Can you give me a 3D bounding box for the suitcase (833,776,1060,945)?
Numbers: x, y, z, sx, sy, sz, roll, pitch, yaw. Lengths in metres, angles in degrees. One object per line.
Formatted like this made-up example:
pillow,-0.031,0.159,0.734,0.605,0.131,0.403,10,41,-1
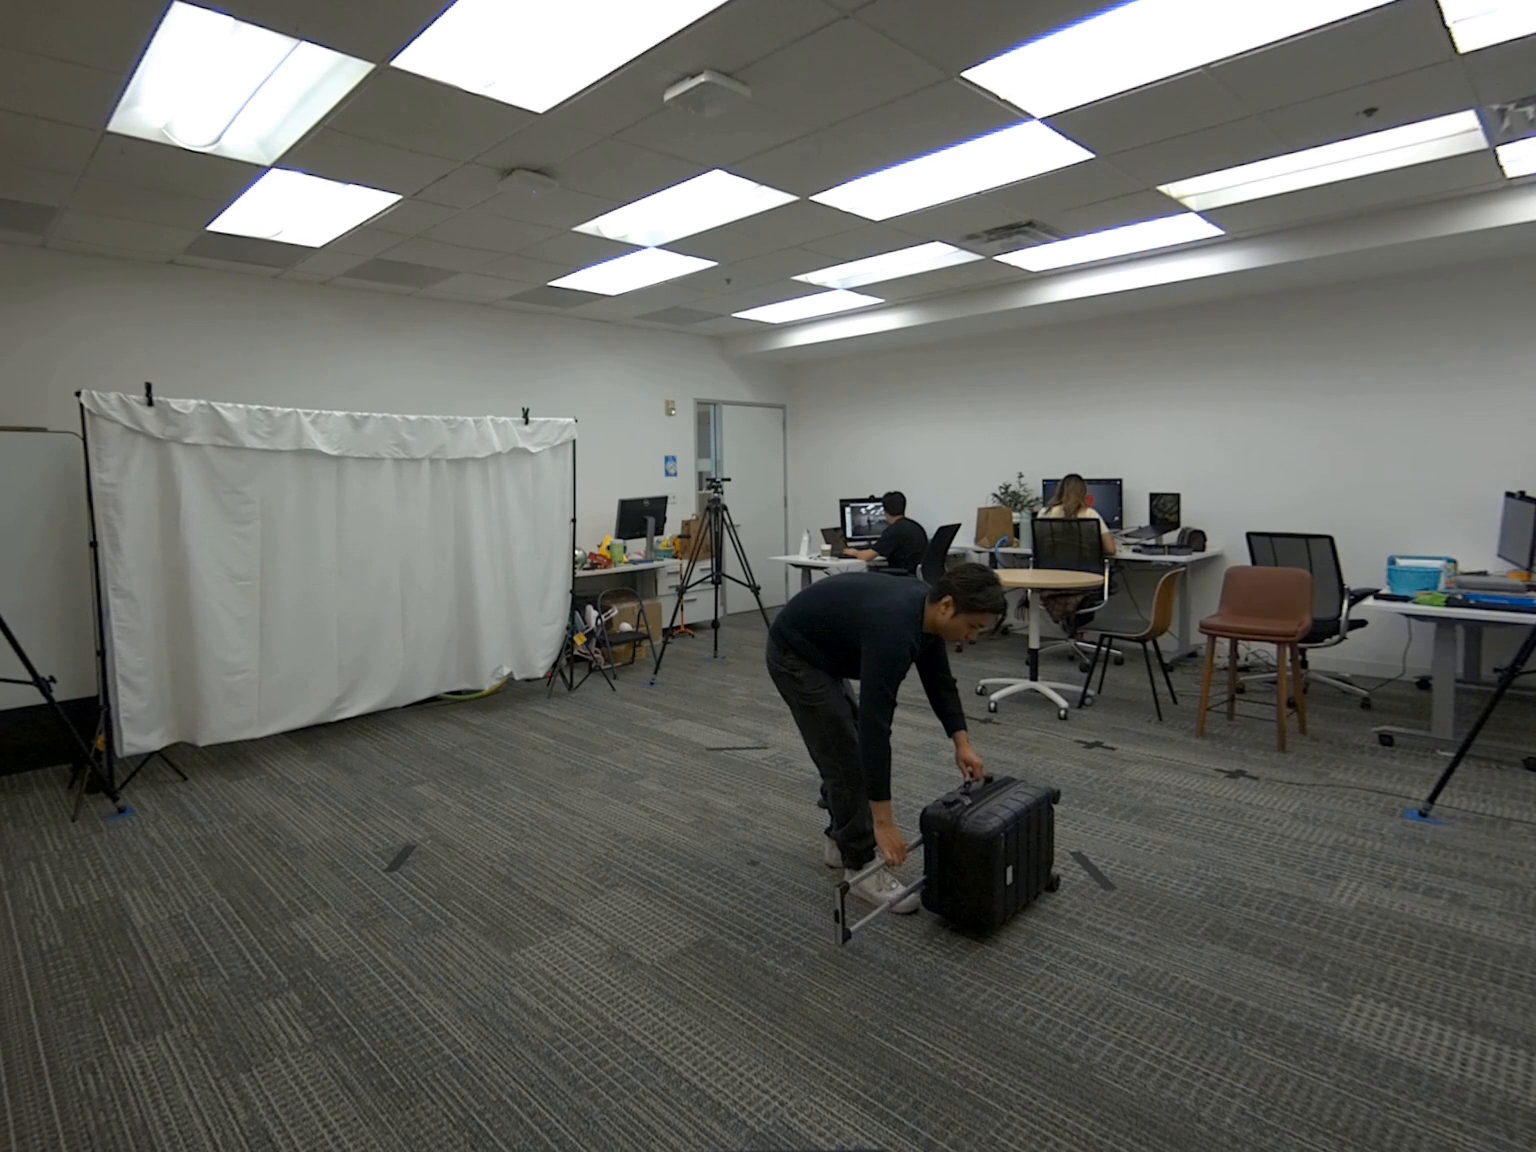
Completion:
suitcase,0.595,0.883,2.600,0.264,0.383,0.952,2,4,39
